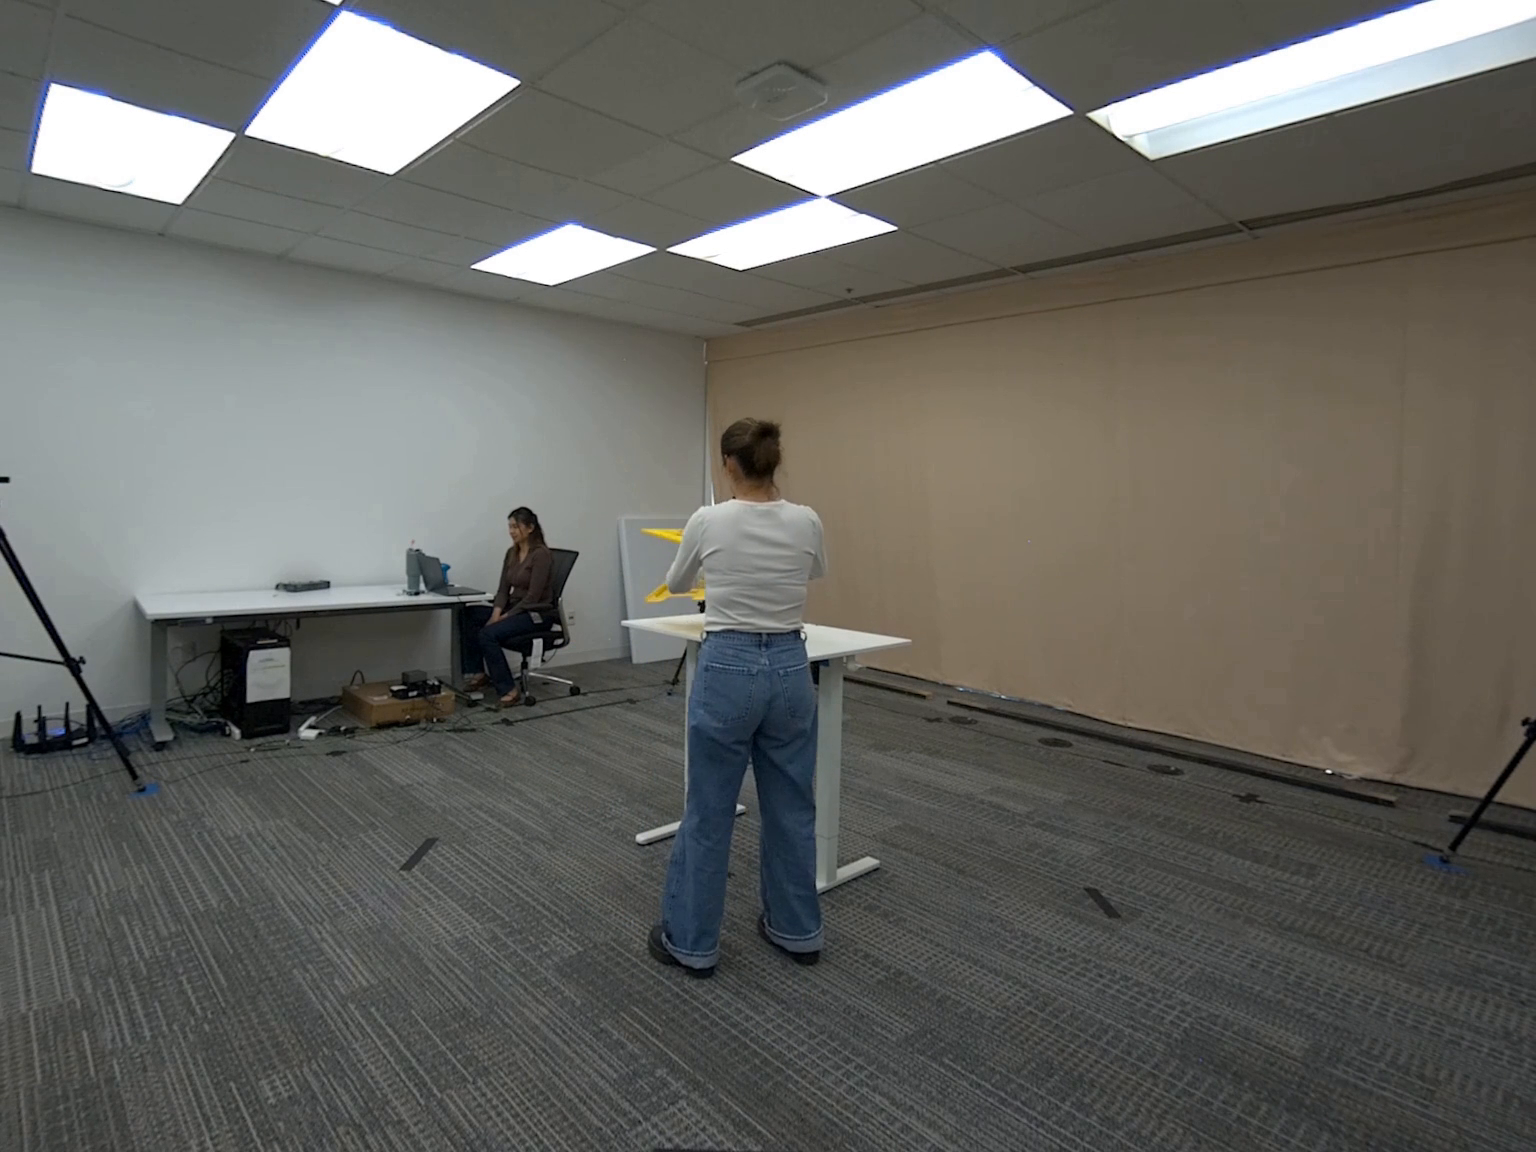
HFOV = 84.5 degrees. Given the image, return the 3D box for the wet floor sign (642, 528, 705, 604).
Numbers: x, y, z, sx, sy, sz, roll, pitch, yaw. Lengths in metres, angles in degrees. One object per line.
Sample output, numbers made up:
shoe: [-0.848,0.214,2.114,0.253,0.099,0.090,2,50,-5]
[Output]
wet floor sign: [-0.260,-0.053,3.132,0.277,0.290,0.655,-2,-3,-25]
